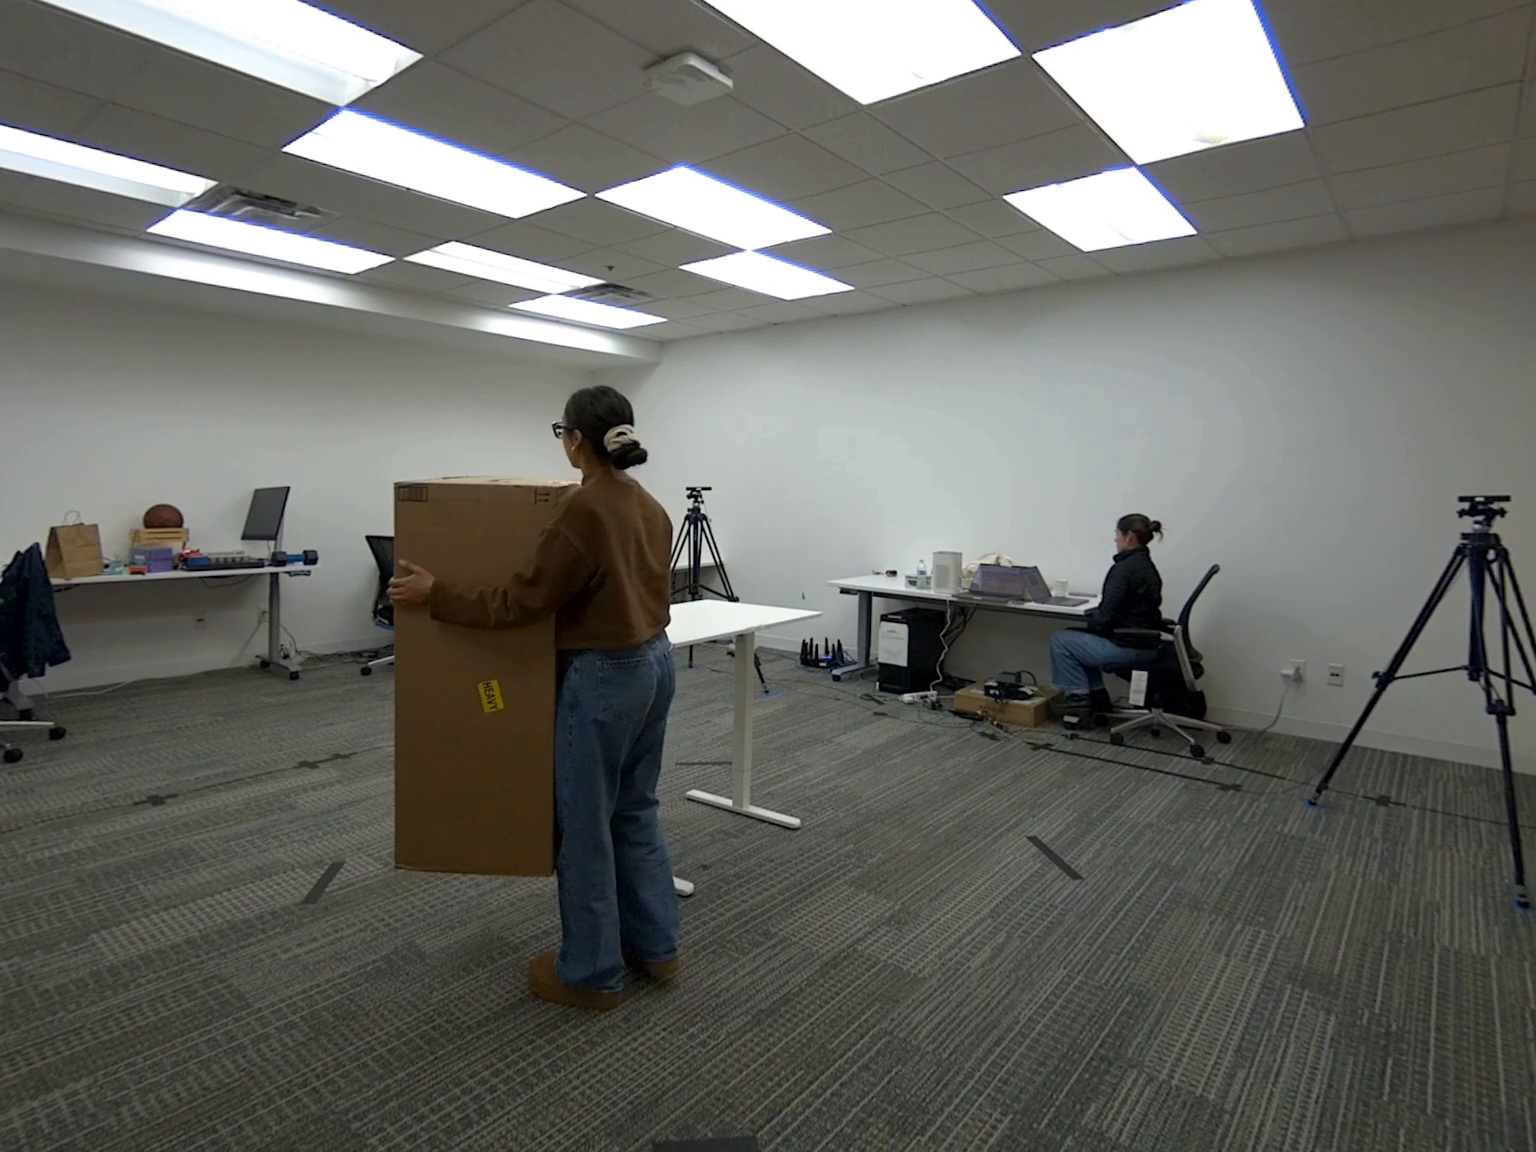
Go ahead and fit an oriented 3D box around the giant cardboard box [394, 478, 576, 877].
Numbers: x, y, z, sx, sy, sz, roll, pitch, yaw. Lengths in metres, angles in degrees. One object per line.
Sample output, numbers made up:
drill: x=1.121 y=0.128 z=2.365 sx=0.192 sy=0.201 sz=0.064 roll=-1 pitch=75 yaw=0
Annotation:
giant cardboard box: x=-0.782 y=0.236 z=2.470 sx=0.427 sy=1.021 sz=0.580 roll=2 pitch=5 yaw=0
